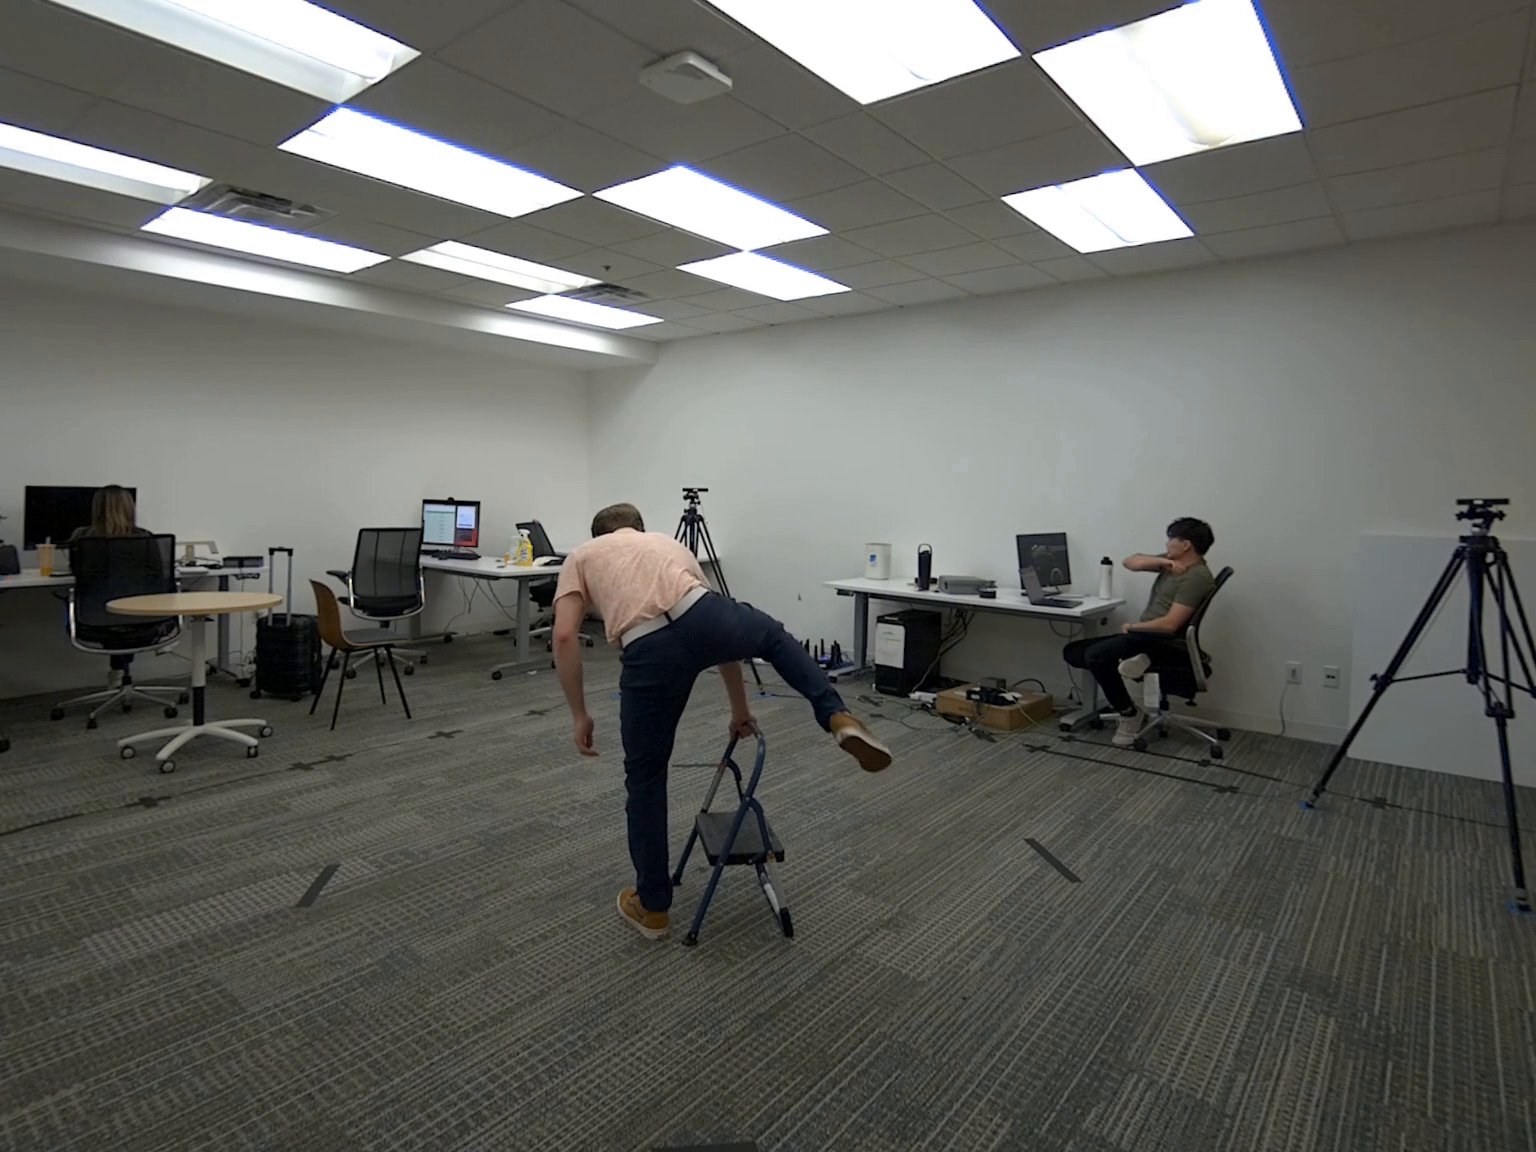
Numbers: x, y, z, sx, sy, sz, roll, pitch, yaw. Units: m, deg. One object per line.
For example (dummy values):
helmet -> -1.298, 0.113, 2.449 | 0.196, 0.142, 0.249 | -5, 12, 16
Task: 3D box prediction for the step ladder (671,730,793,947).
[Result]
step ladder -> -0.132, 0.802, 2.802 | 0.345, 0.604, 0.438 | 0, 5, -12
